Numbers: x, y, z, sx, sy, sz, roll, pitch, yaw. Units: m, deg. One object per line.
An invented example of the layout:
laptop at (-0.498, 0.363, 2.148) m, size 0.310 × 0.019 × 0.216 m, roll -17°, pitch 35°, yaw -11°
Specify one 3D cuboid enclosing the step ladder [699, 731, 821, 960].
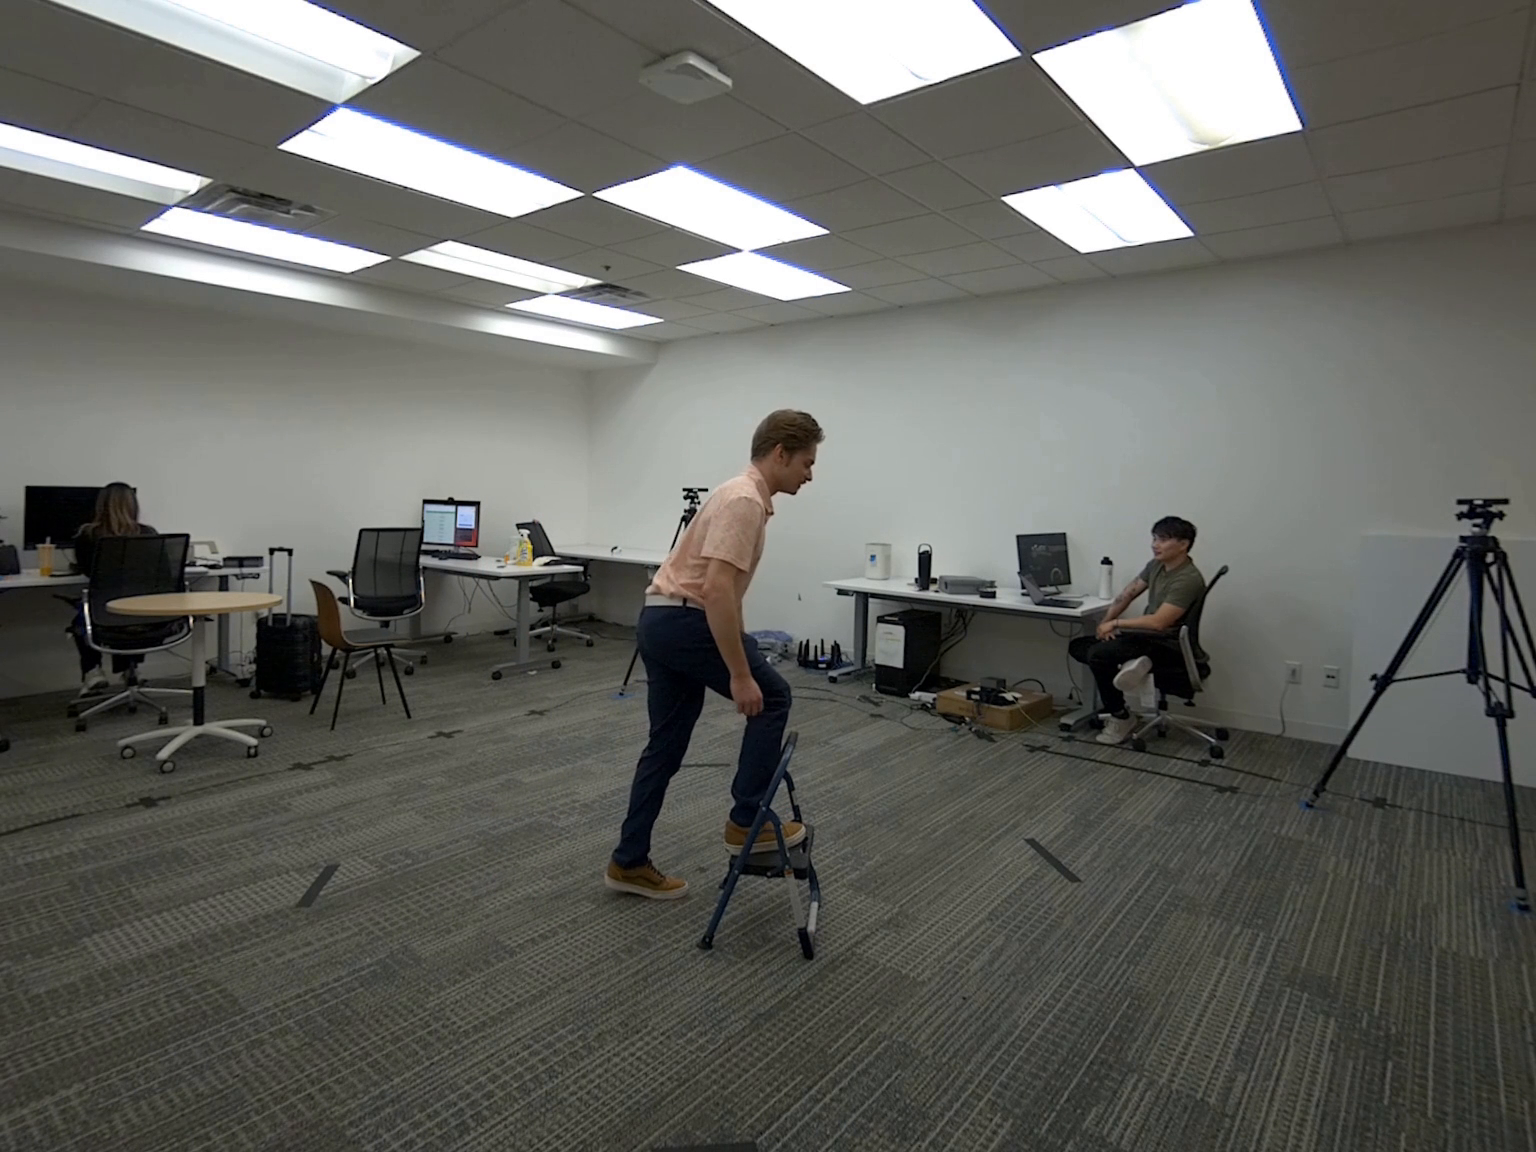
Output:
step ladder at (-0.009, 0.812, 2.727) m, size 0.353 × 0.604 × 0.428 m, roll 2°, pitch 4°, yaw 8°
